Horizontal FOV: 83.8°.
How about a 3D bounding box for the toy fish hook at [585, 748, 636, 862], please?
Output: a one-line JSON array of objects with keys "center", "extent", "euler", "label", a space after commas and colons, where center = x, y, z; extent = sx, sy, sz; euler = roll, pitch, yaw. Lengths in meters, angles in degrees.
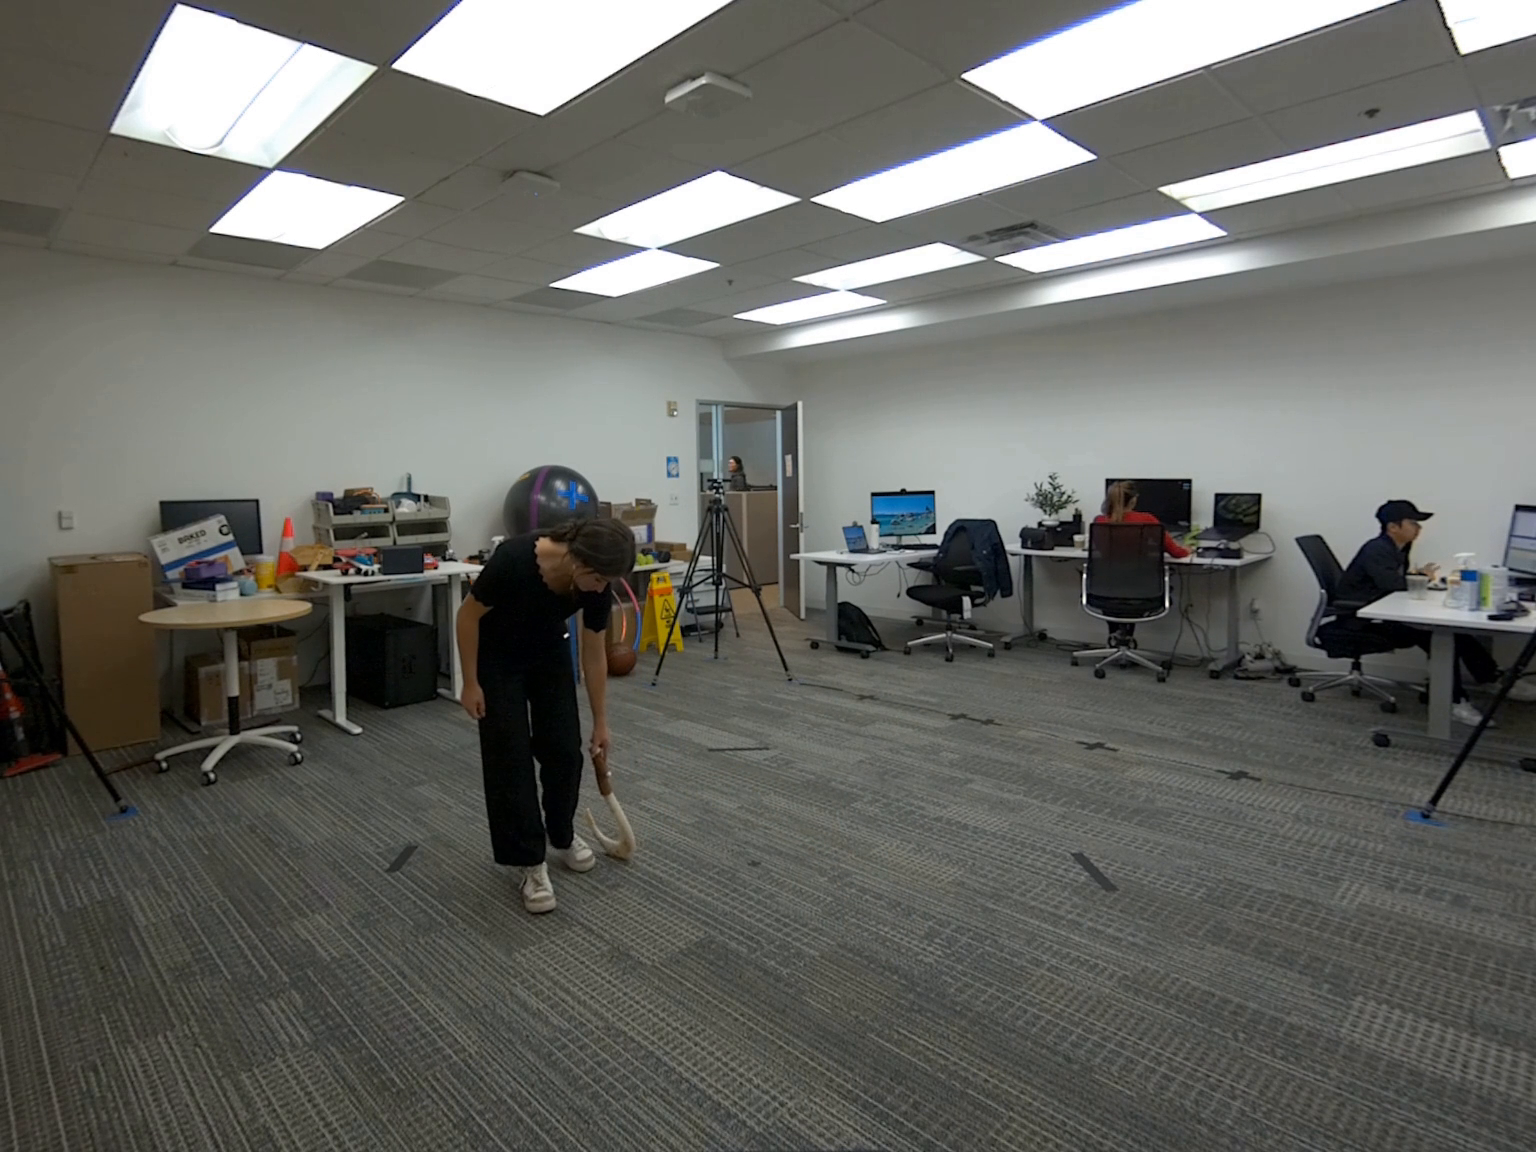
[{"center": [-0.603, 0.816, 3.099], "extent": [0.231, 0.496, 0.048], "euler": [4, 25, 31], "label": "toy fish hook"}]
